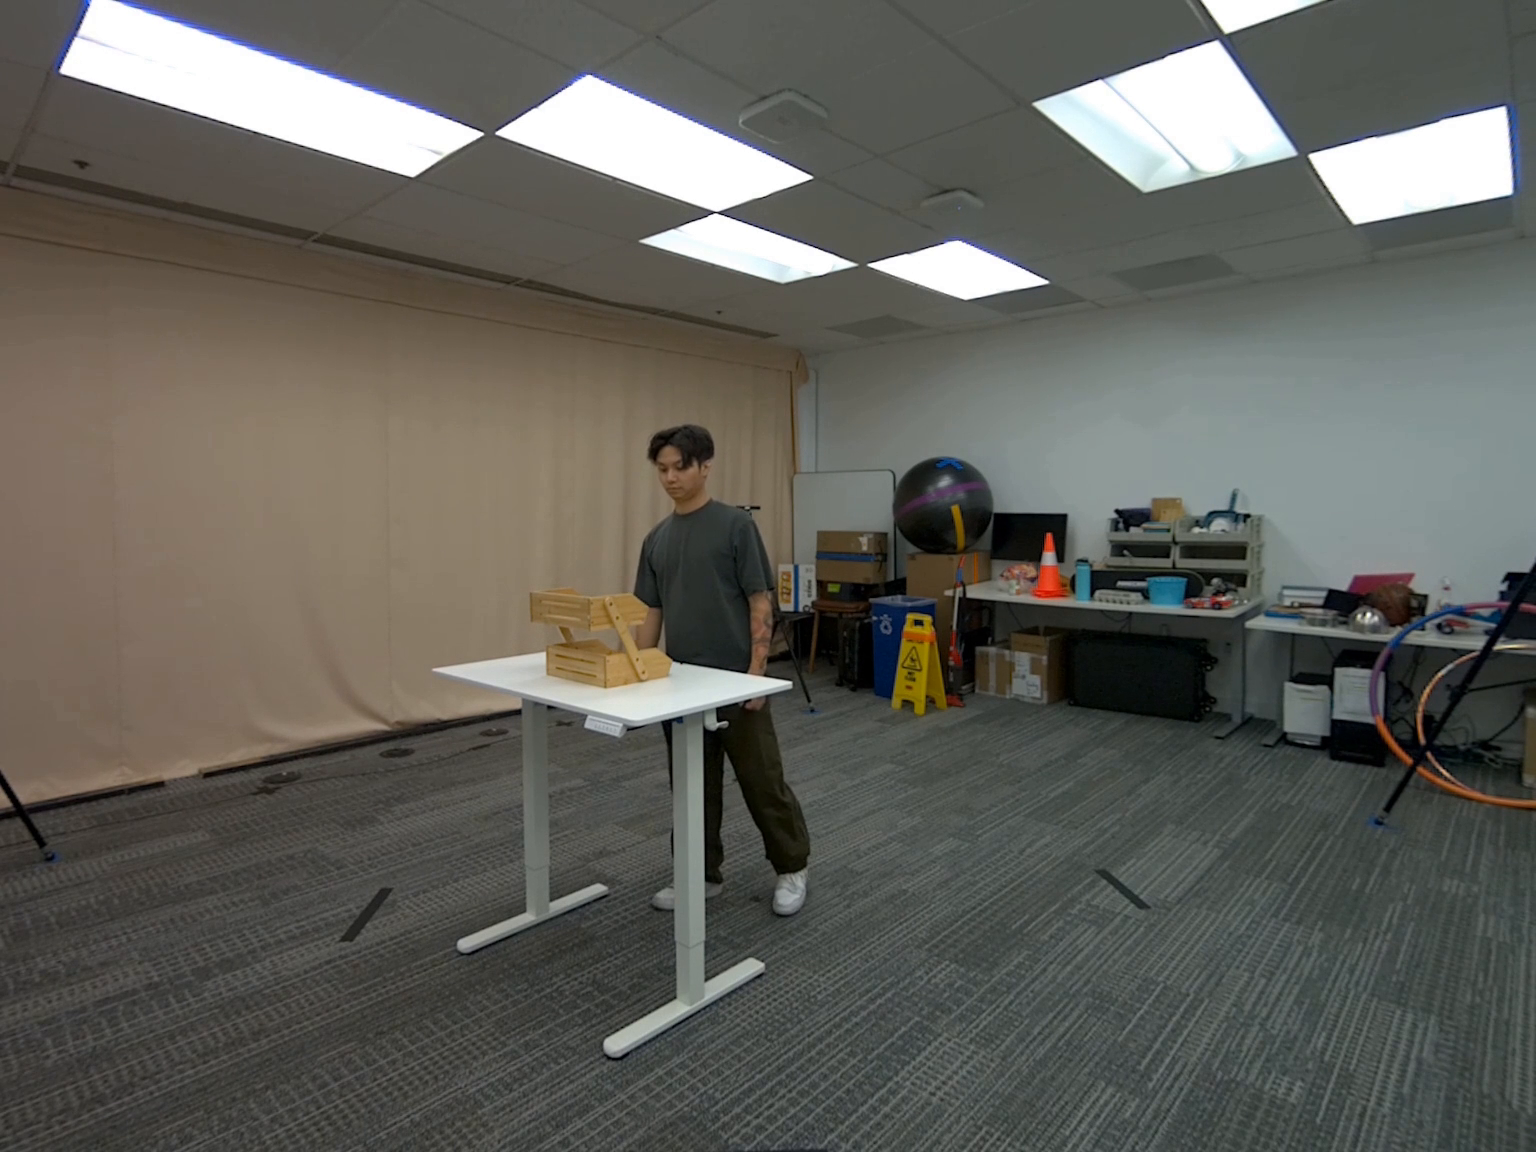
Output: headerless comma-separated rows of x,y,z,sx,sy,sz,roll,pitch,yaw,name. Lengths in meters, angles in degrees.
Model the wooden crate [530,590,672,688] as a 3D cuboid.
-0.501,0.171,2.525,0.335,0.273,0.293,2,5,44,wooden crate
